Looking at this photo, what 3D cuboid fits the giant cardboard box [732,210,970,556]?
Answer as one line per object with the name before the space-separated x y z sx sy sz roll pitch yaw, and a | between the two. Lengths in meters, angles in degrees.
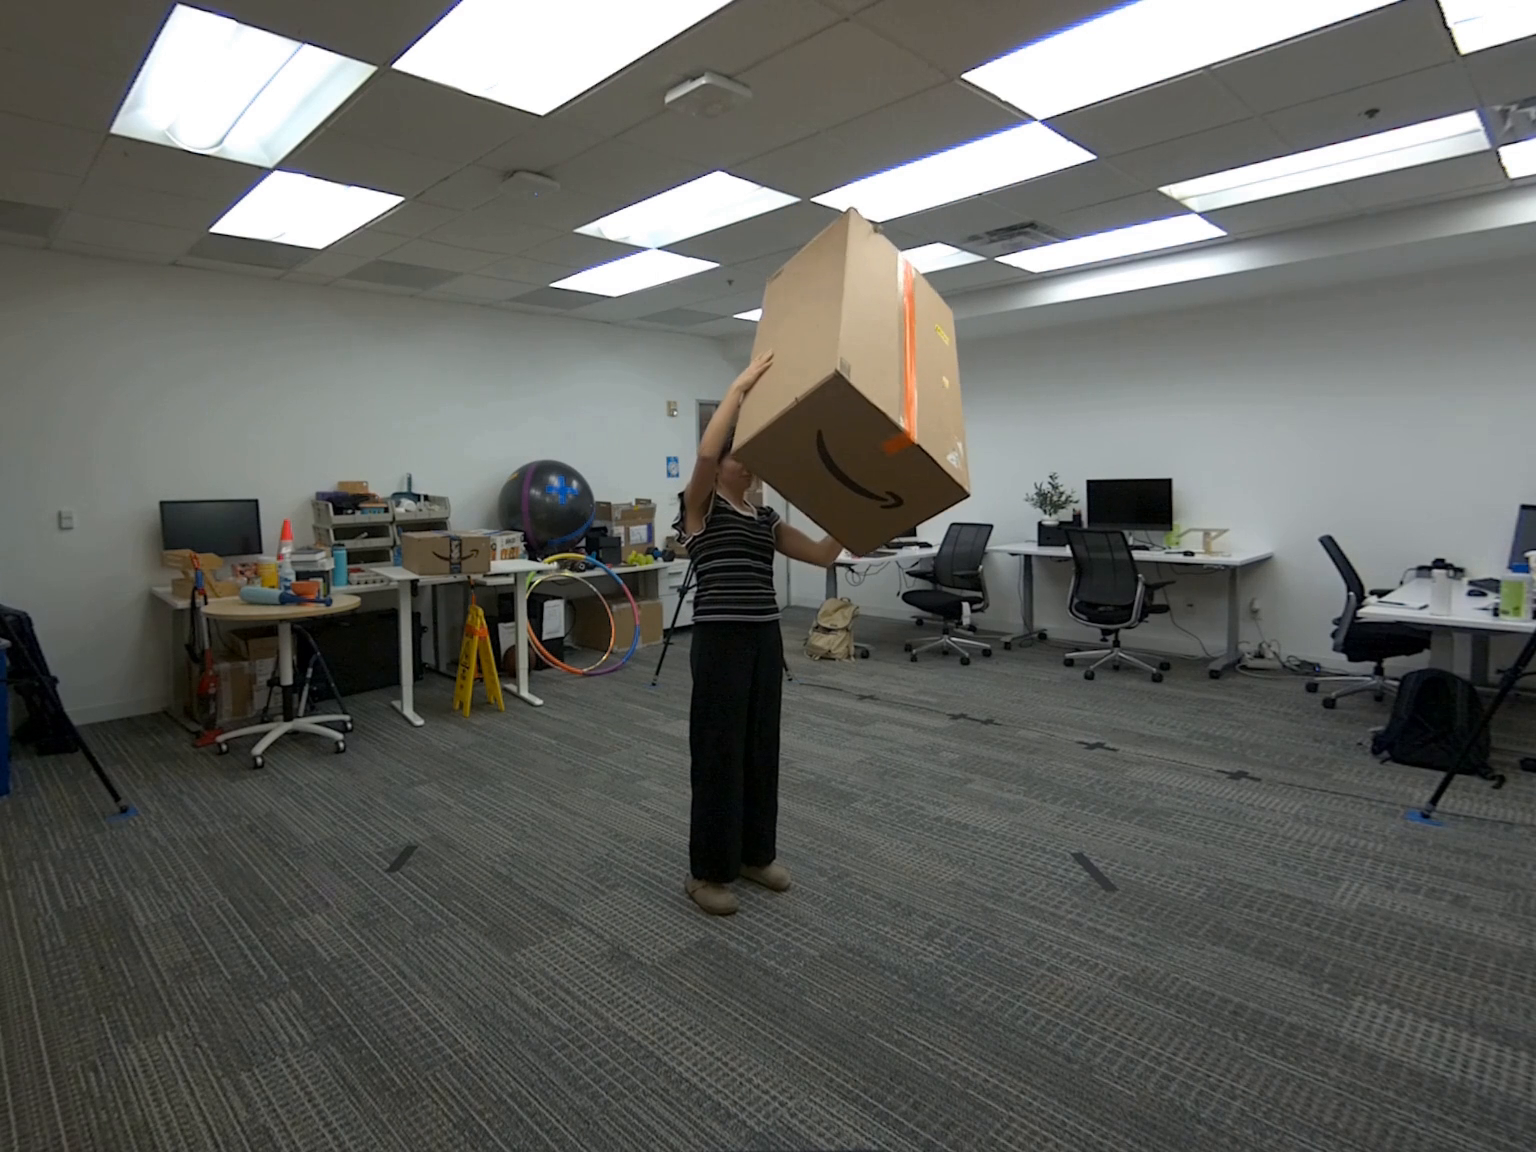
giant cardboard box | 0.287 -0.667 2.824 0.560 1.048 0.430 36 -50 -26
